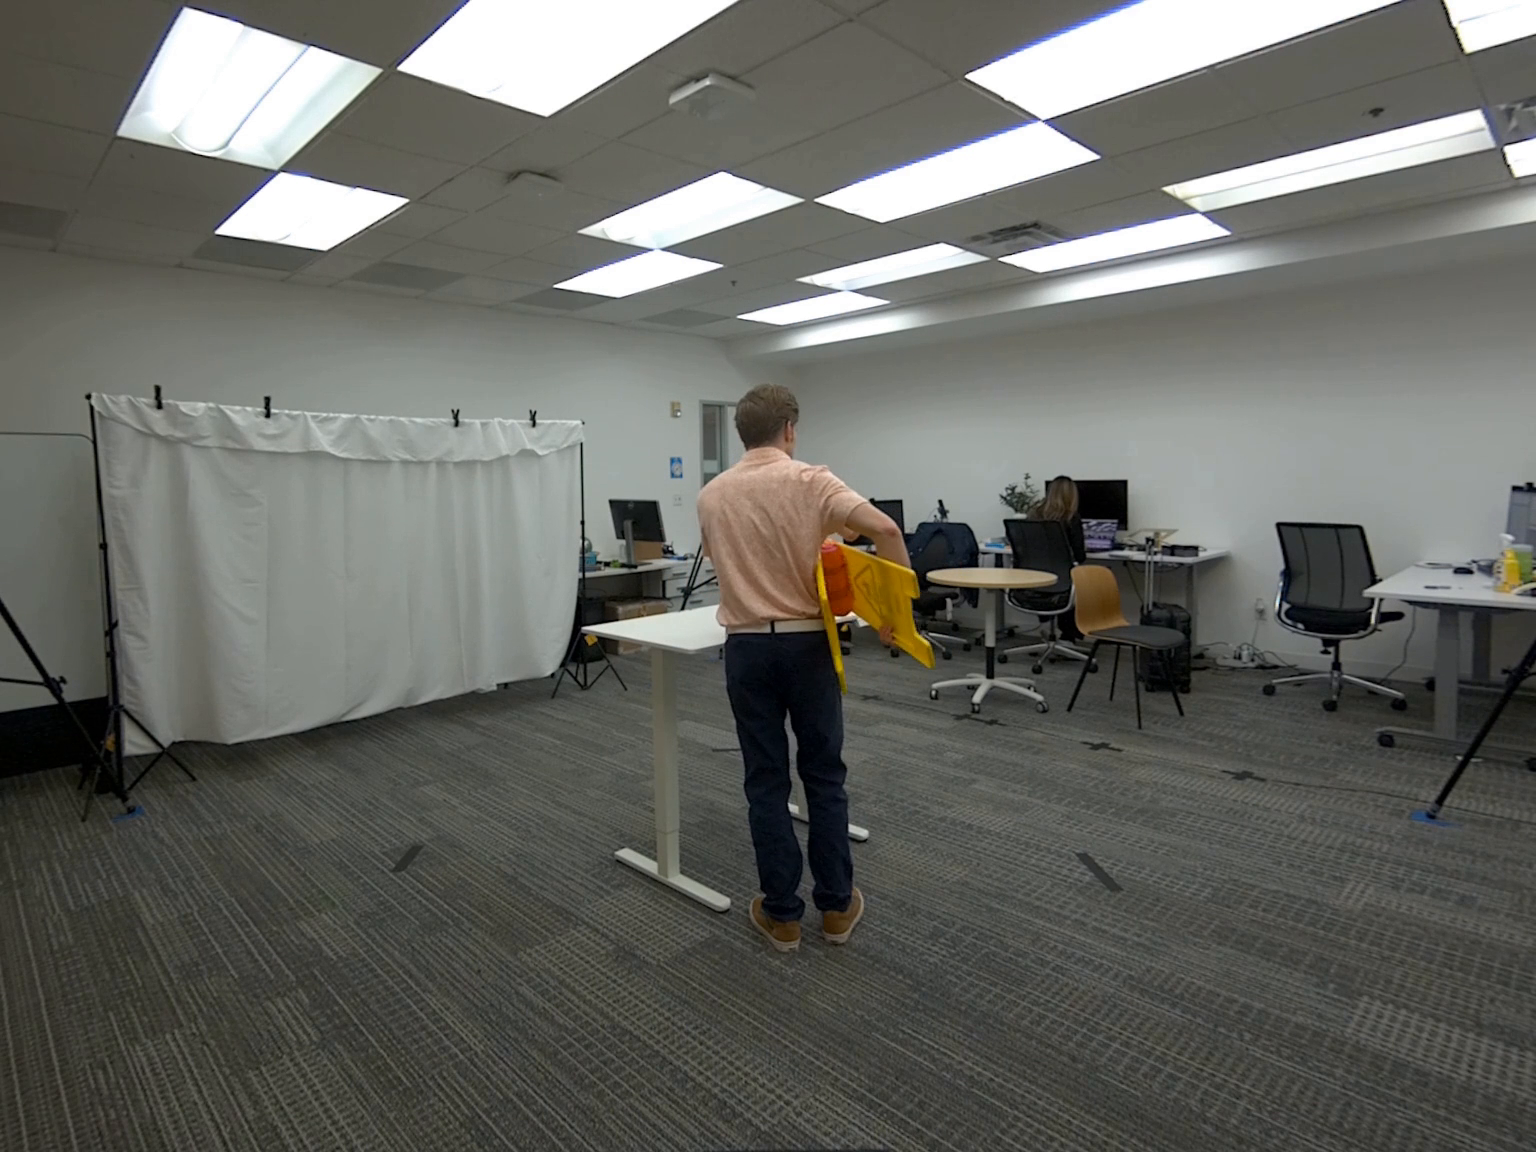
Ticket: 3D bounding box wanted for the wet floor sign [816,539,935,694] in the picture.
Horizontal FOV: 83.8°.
[{"bbox_3d":[0.244,0.061,2.514,0.289,0.277,0.659,-14,19,-2],"label":"wet floor sign"}]
